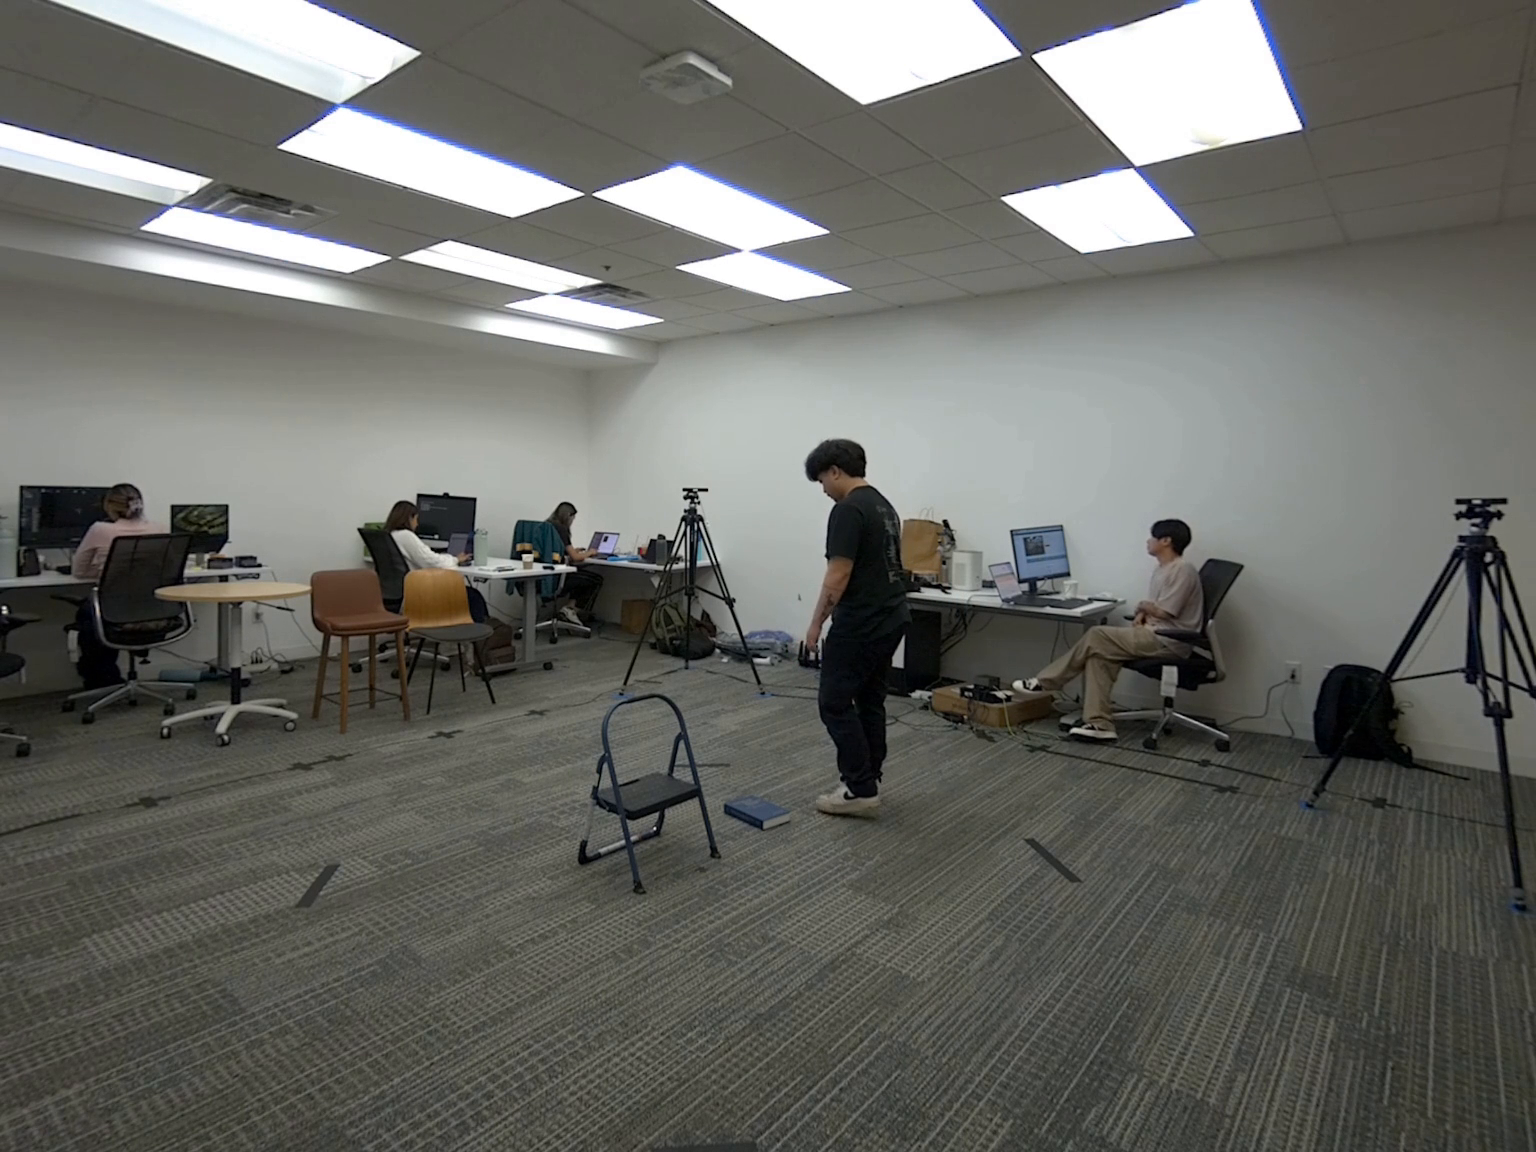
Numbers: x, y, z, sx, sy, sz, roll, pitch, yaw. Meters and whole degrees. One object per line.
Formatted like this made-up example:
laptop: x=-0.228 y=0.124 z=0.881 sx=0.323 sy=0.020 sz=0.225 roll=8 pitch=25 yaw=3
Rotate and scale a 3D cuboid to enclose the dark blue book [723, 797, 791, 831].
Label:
dark blue book: x=-0.053 y=1.004 z=3.621 sx=0.158 sy=0.045 sz=0.253 roll=-4 pitch=7 yaw=-43
